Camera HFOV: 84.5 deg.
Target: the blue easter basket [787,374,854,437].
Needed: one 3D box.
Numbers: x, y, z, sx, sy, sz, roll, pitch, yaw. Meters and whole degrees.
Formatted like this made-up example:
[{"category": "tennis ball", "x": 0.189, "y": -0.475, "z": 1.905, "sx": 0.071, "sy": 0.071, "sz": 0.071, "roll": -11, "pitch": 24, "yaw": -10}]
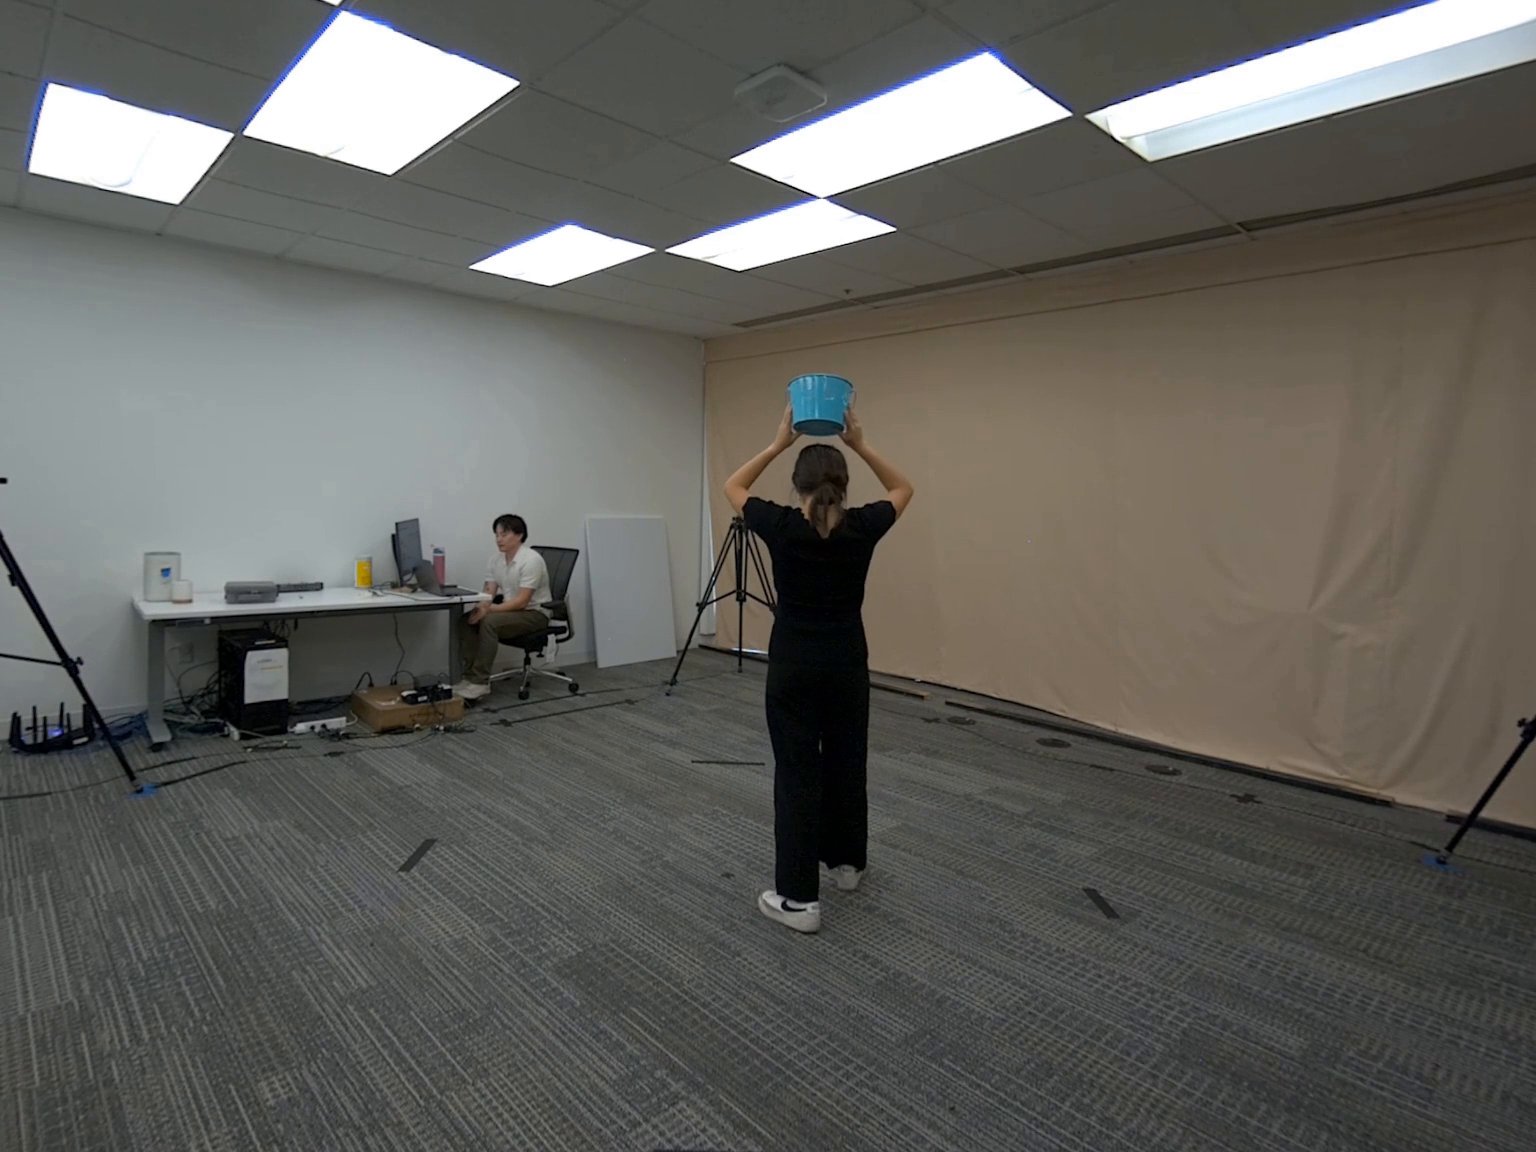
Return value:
[{"category": "blue easter basket", "x": 0.189, "y": -0.592, "z": 2.959, "sx": 0.244, "sy": 0.157, "sz": 0.241, "roll": 5, "pitch": -12, "yaw": 0}]
